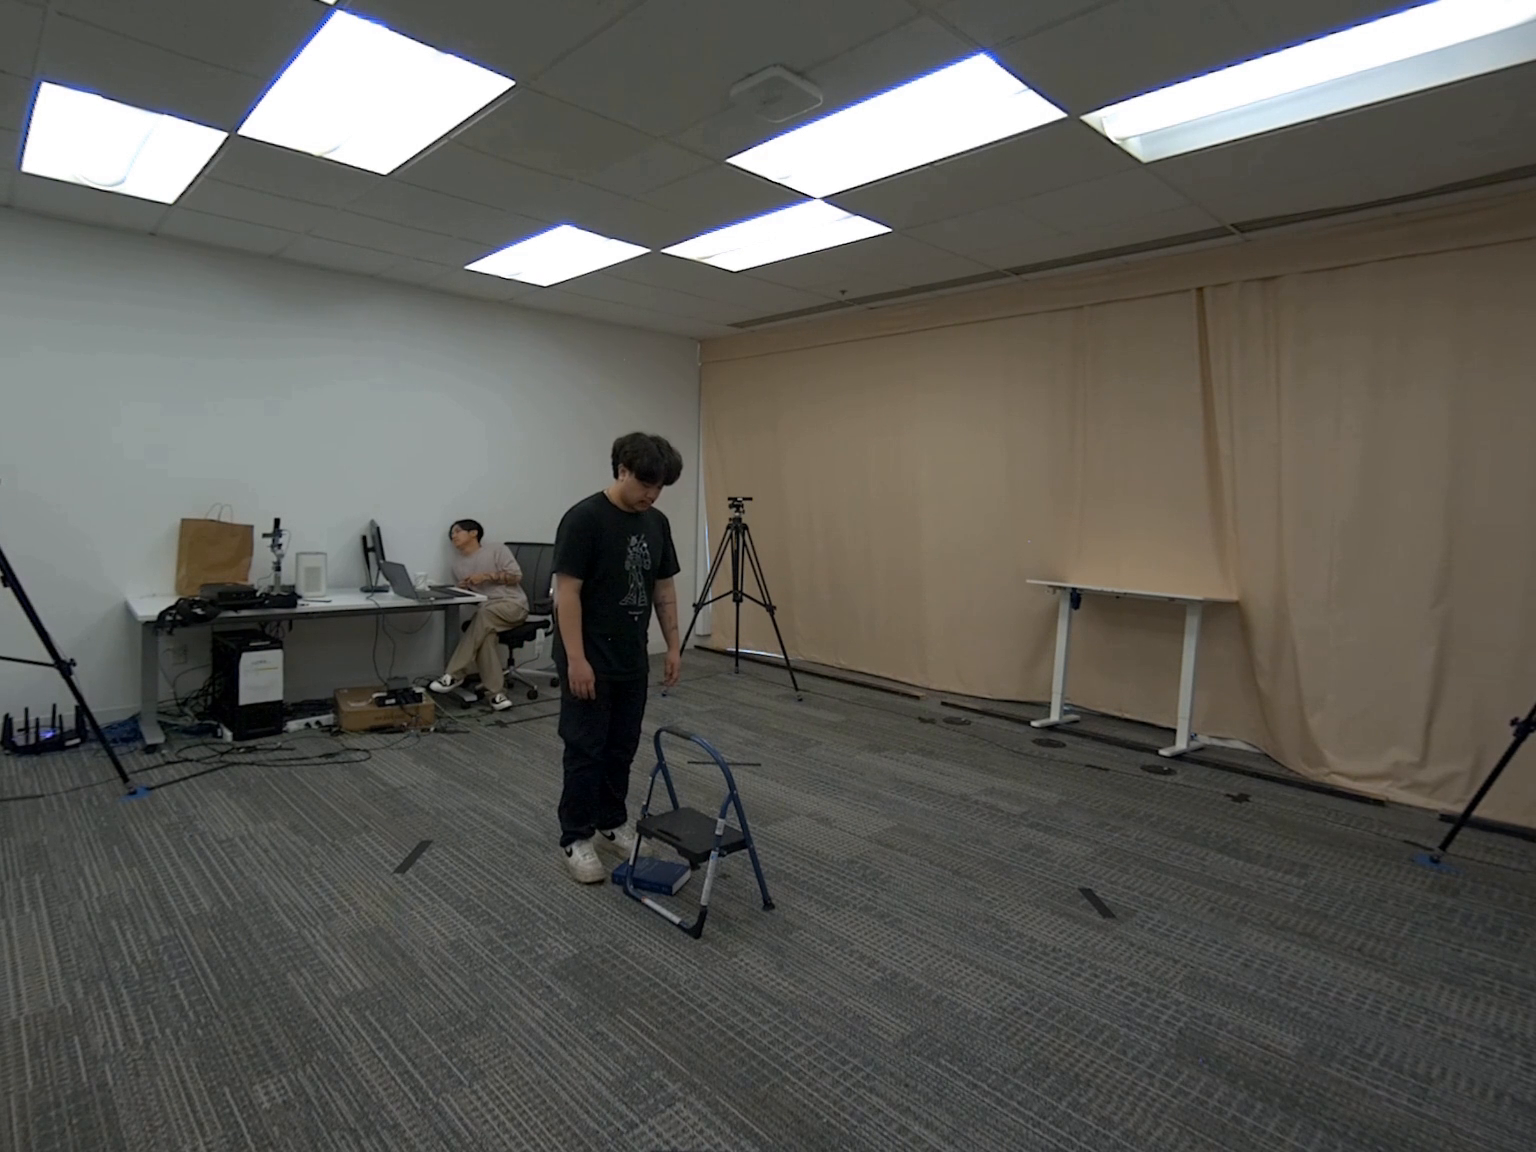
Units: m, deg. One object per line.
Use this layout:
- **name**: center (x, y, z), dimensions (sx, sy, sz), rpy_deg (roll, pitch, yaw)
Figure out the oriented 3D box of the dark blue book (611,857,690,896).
- **dark blue book**: center (-0.433, 1.090, 3.042), dimensions (0.249, 0.045, 0.161), rpy_deg (3, 5, 20)
